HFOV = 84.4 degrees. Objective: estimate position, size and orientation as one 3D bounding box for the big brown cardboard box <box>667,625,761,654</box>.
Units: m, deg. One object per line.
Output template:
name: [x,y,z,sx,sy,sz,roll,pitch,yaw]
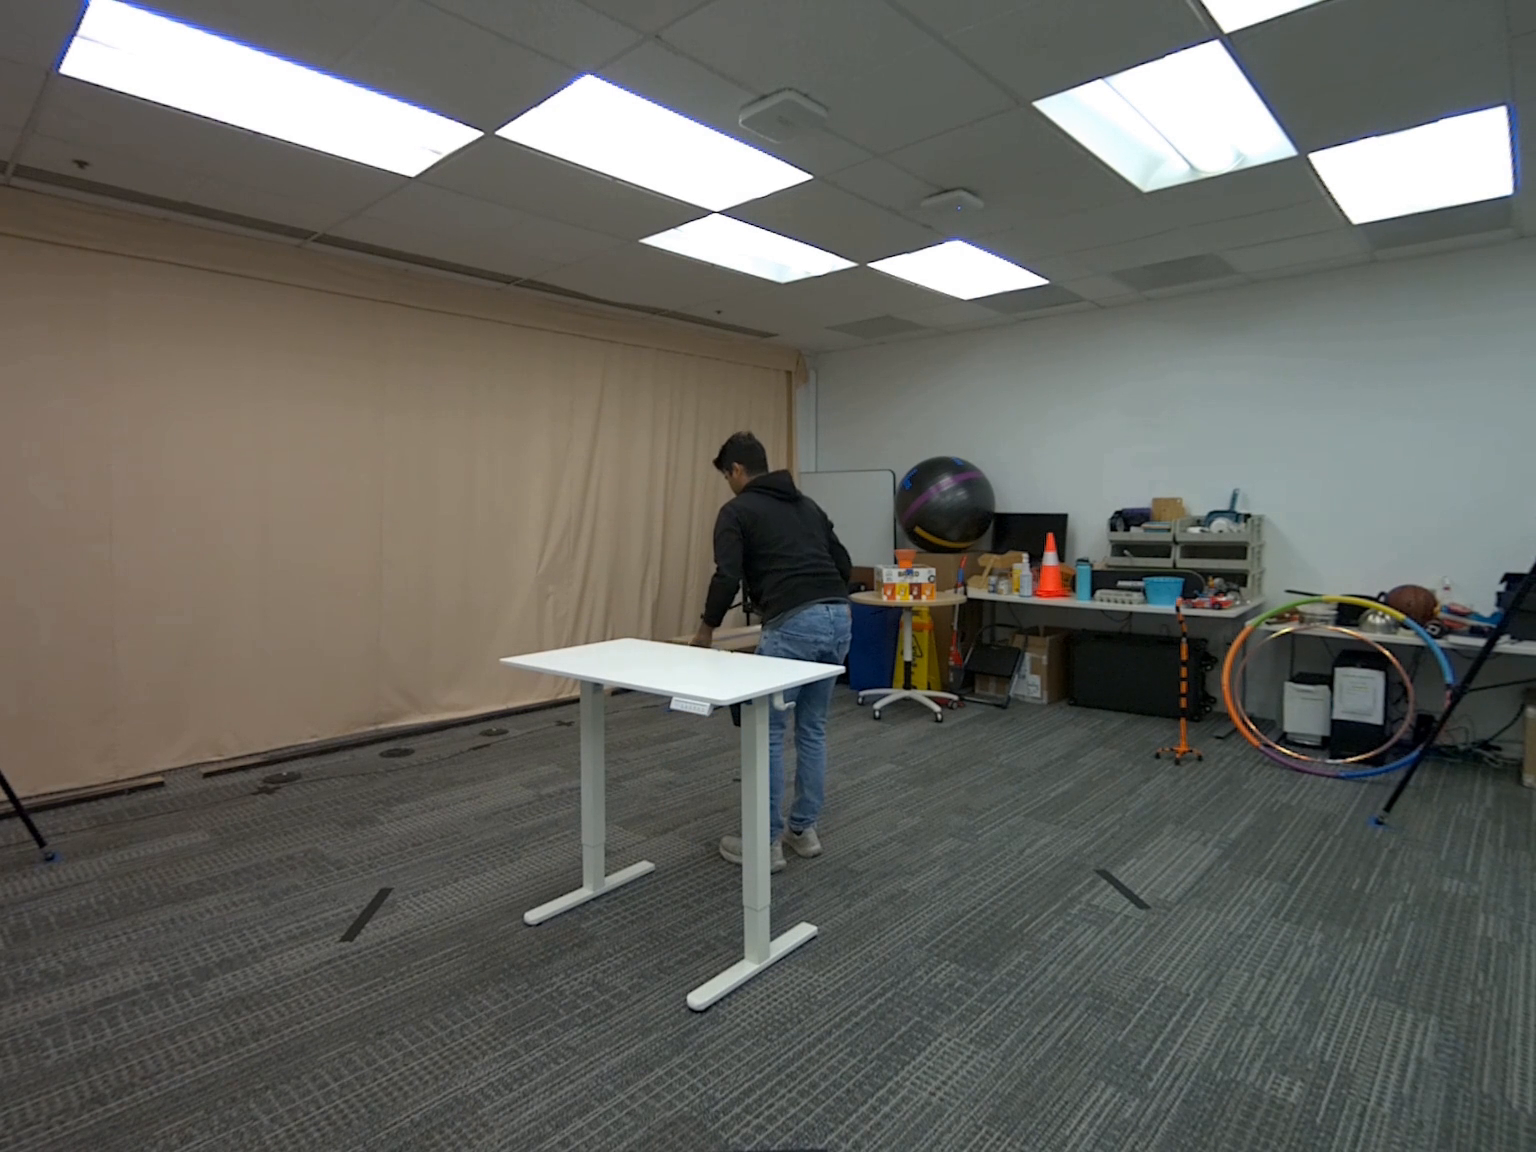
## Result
big brown cardboard box: [-0.099,0.371,3.691,0.573,0.232,0.431,-7,7,-35]
